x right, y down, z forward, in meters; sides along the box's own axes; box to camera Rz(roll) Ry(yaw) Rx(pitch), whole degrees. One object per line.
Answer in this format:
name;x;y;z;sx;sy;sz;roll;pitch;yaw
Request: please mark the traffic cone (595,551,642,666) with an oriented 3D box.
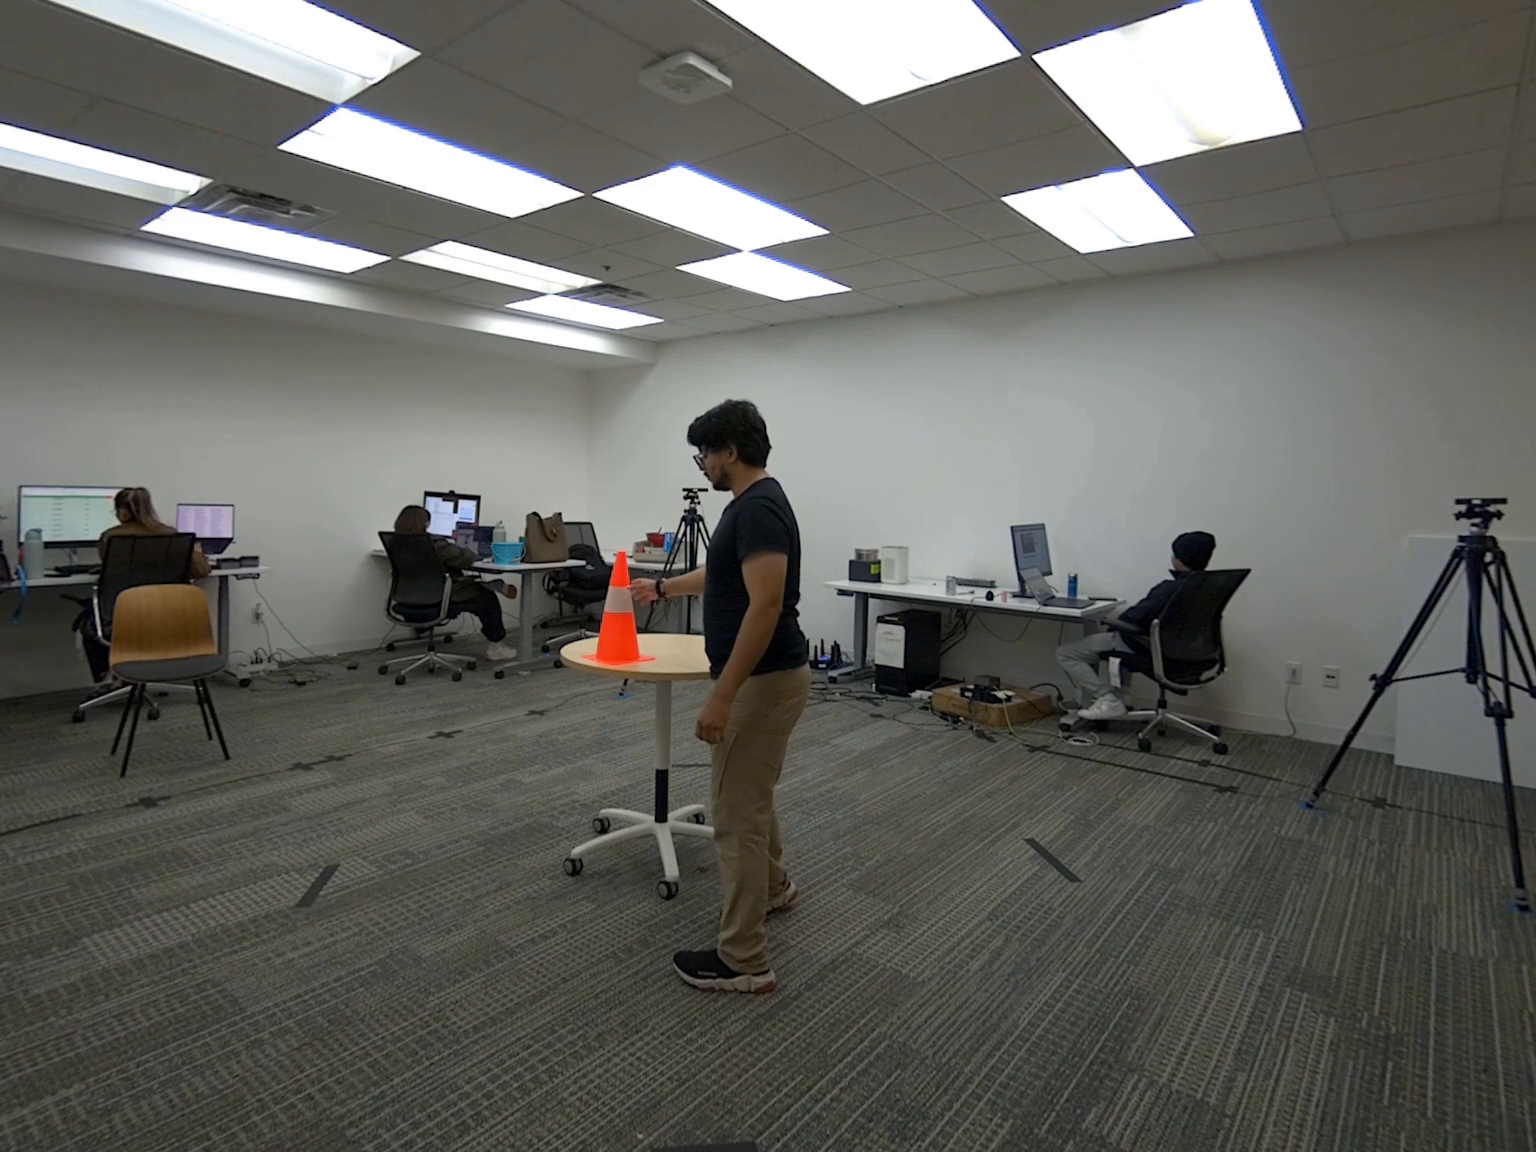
traffic cone;-0.533;0.101;3.000;0.211;0.383;0.197;5;3;34
